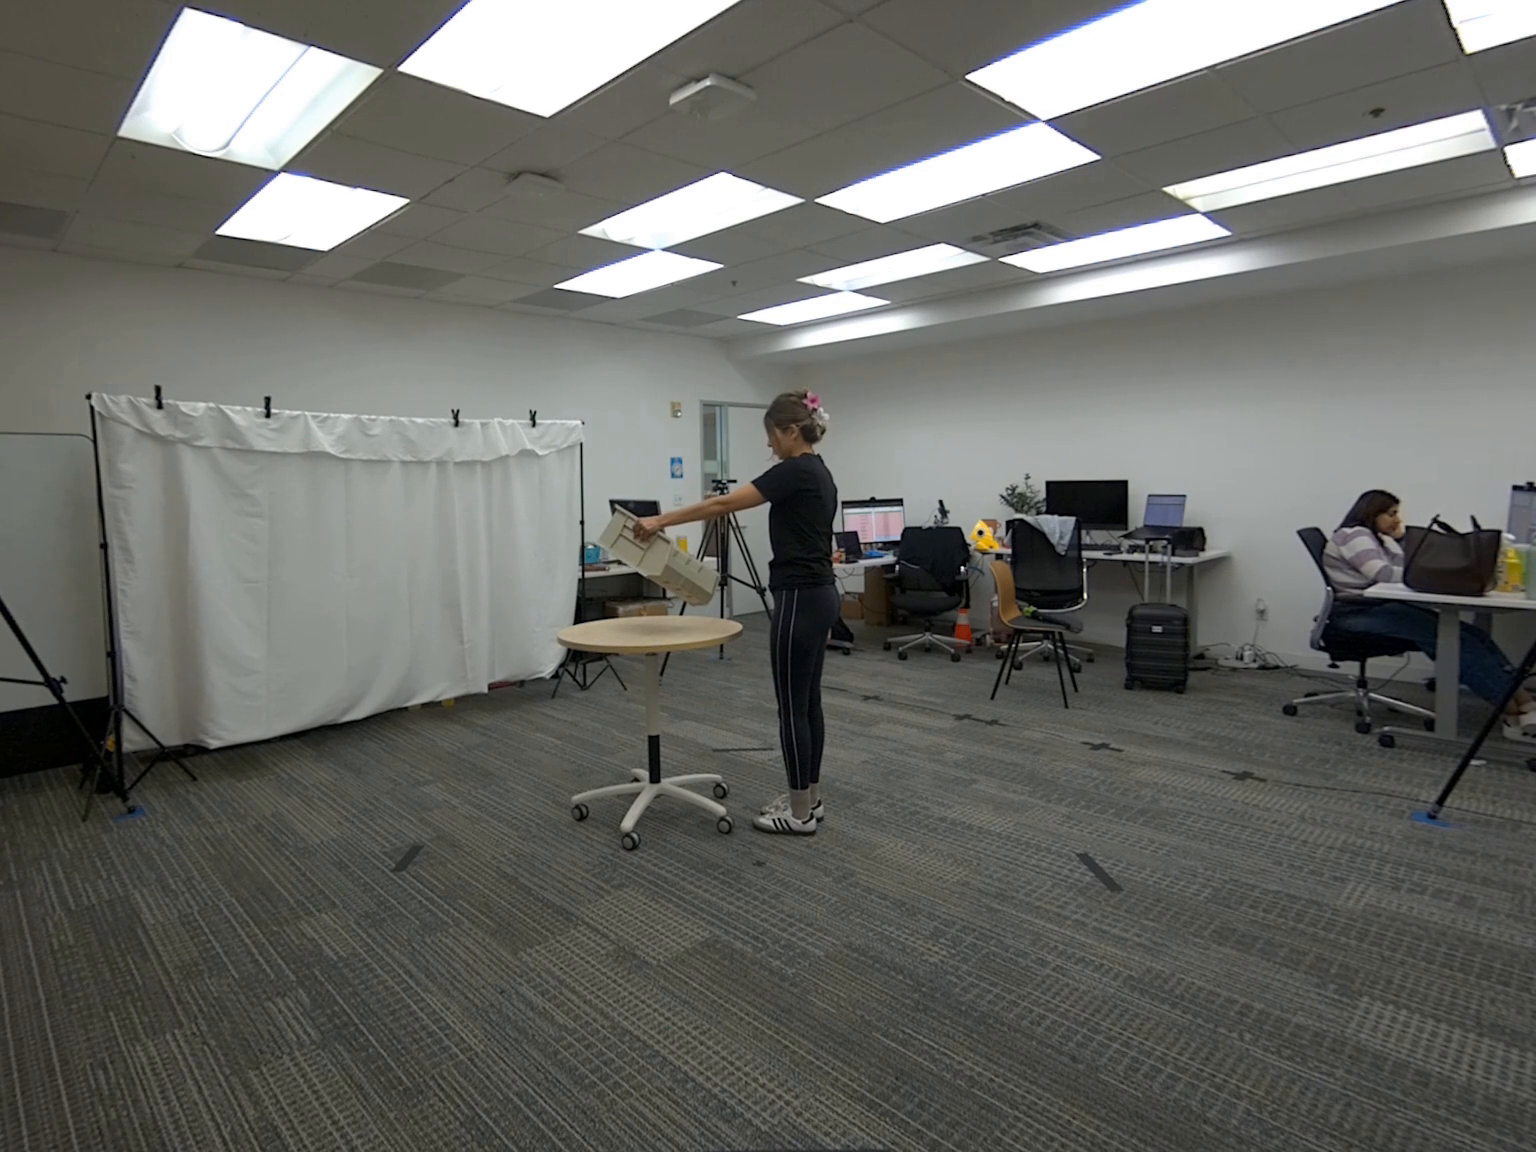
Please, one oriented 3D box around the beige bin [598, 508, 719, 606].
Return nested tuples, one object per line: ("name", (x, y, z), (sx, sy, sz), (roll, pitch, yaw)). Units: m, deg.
("beige bin", (-0.442, -0.067, 3.535), (0.391, 0.189, 0.407), (32, -2, 33))
